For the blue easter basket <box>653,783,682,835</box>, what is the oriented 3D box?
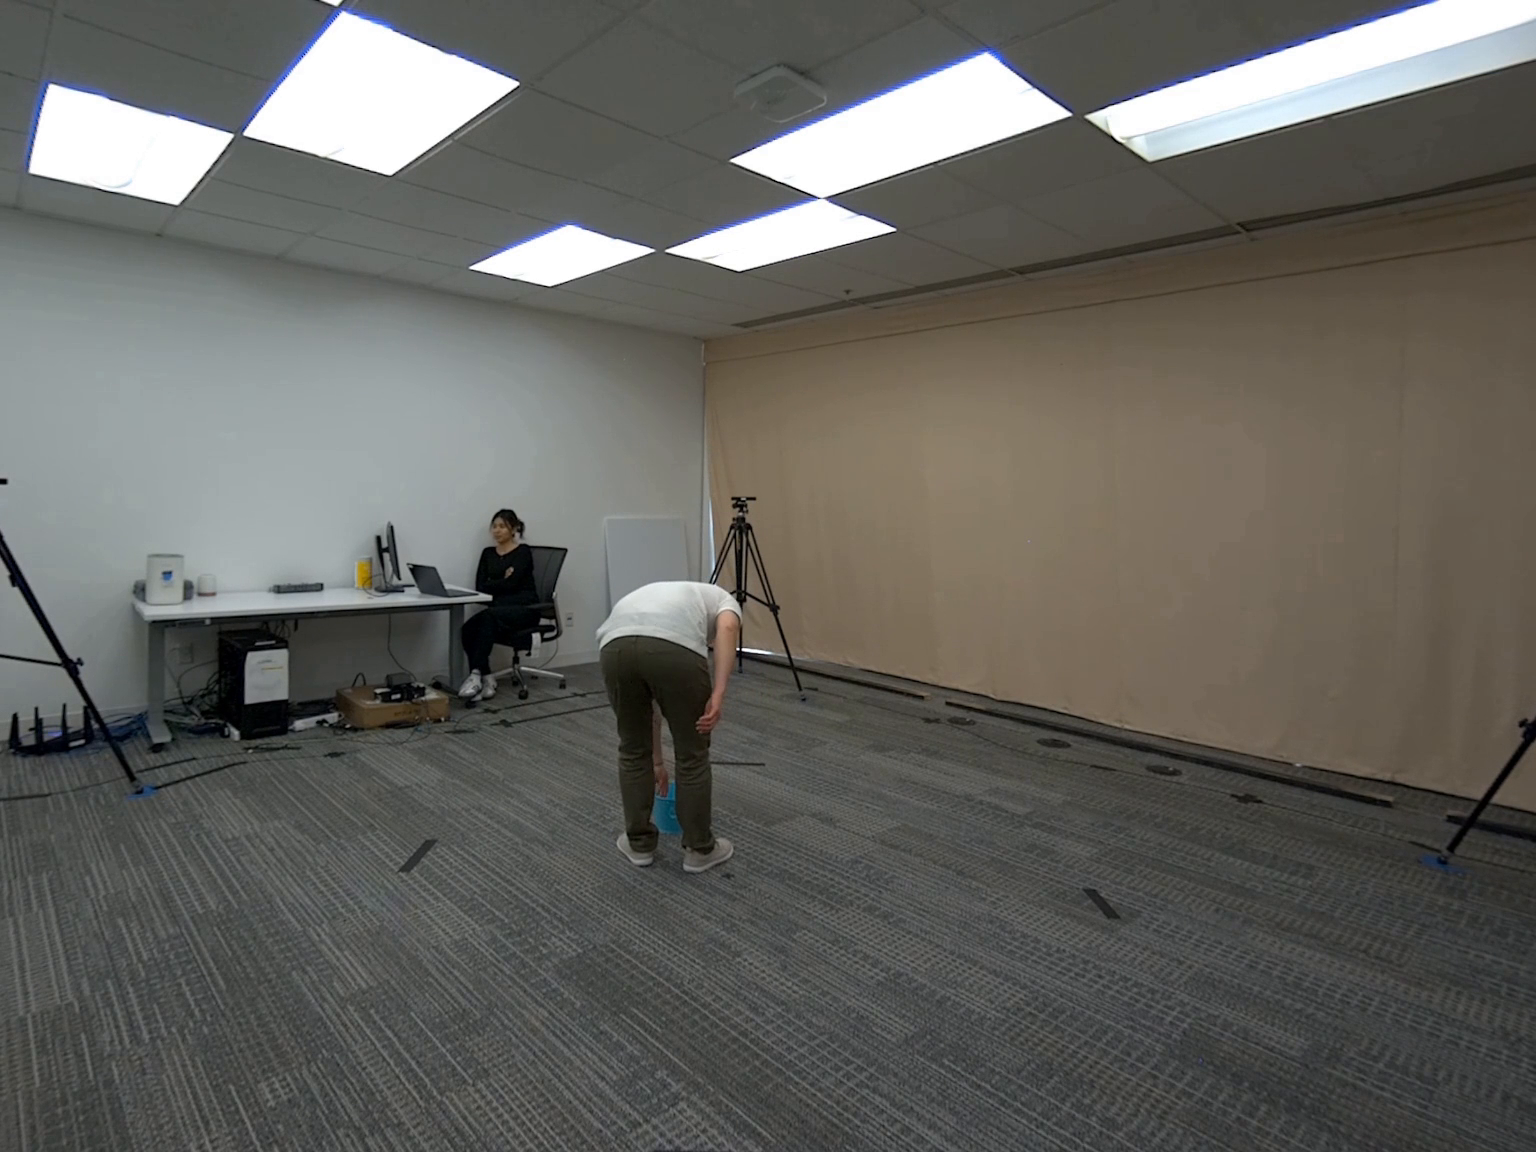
[{"bbox_3d":[-0.390,0.985,3.575,0.243,0.155,0.244,1,5,-1],"label":"blue easter basket"}]
